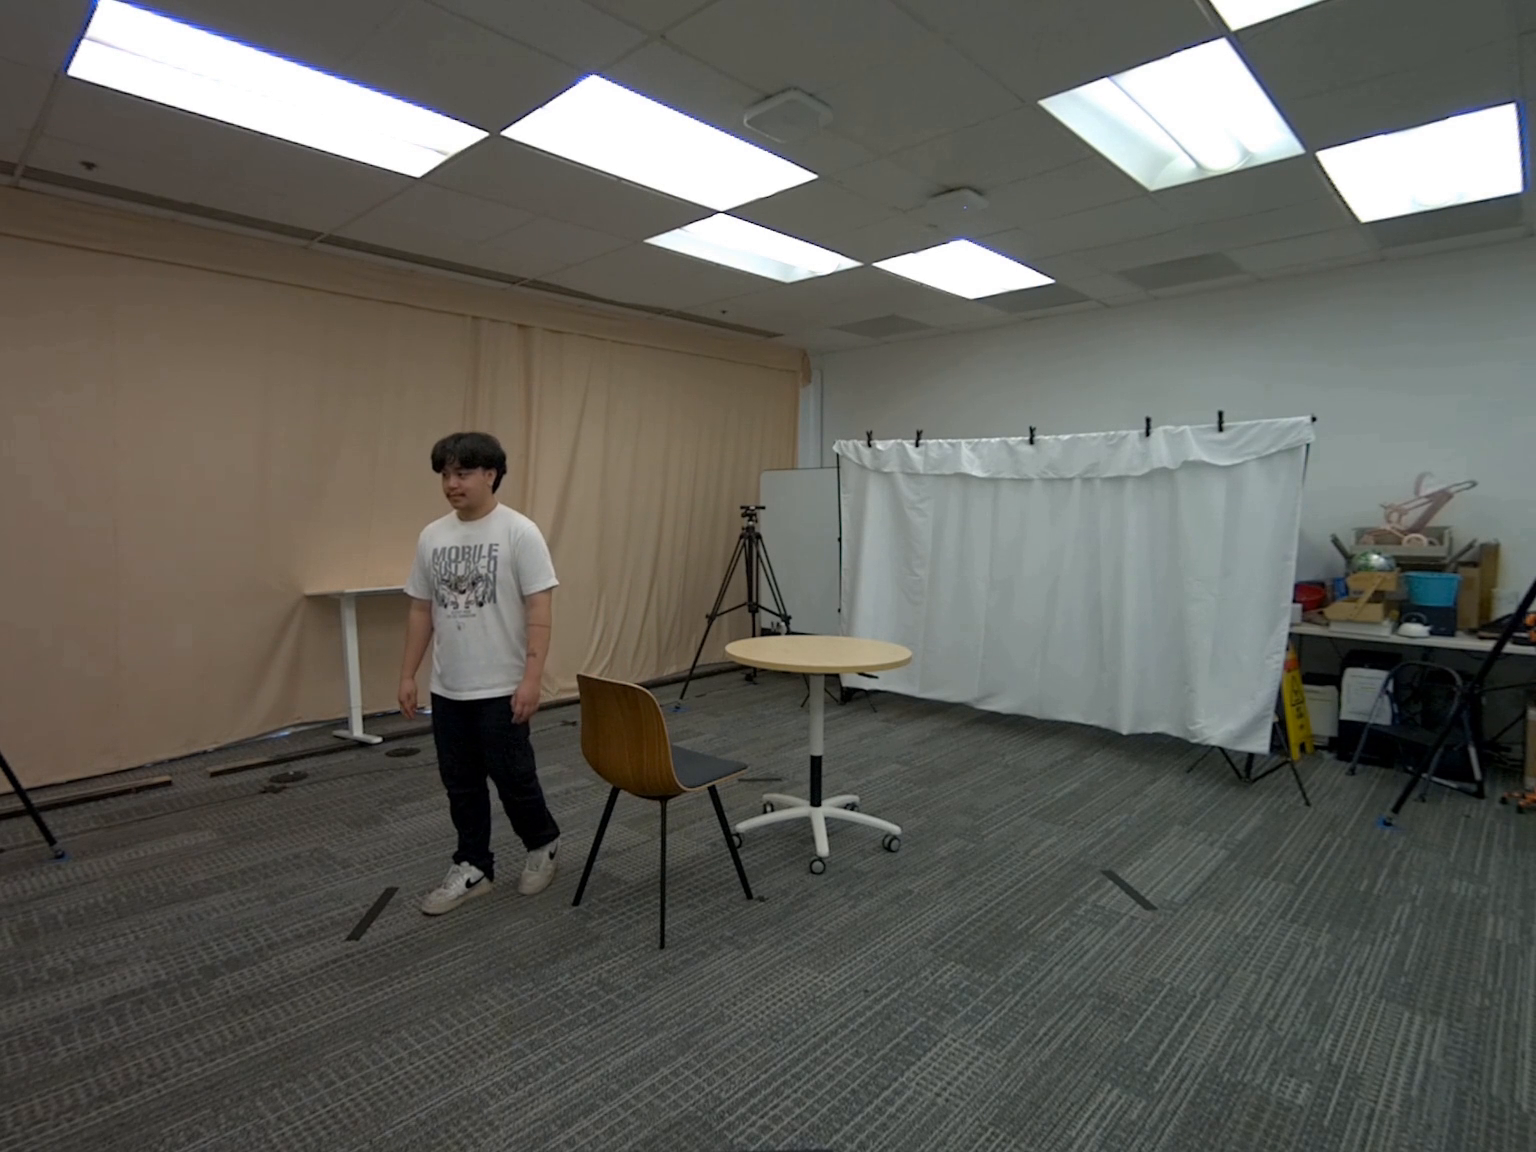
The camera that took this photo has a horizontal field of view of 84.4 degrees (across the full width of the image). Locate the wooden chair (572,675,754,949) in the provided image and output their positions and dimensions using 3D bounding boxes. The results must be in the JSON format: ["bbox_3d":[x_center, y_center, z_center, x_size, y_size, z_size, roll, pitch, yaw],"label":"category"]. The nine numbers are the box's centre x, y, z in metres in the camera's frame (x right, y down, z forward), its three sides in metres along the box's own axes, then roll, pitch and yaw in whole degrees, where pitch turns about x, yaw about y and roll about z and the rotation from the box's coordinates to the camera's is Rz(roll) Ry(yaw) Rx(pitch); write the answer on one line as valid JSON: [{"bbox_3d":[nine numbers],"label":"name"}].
[{"bbox_3d":[-0.365,0.723,2.934,0.493,0.873,0.509,1,8,40],"label":"wooden chair"}]
